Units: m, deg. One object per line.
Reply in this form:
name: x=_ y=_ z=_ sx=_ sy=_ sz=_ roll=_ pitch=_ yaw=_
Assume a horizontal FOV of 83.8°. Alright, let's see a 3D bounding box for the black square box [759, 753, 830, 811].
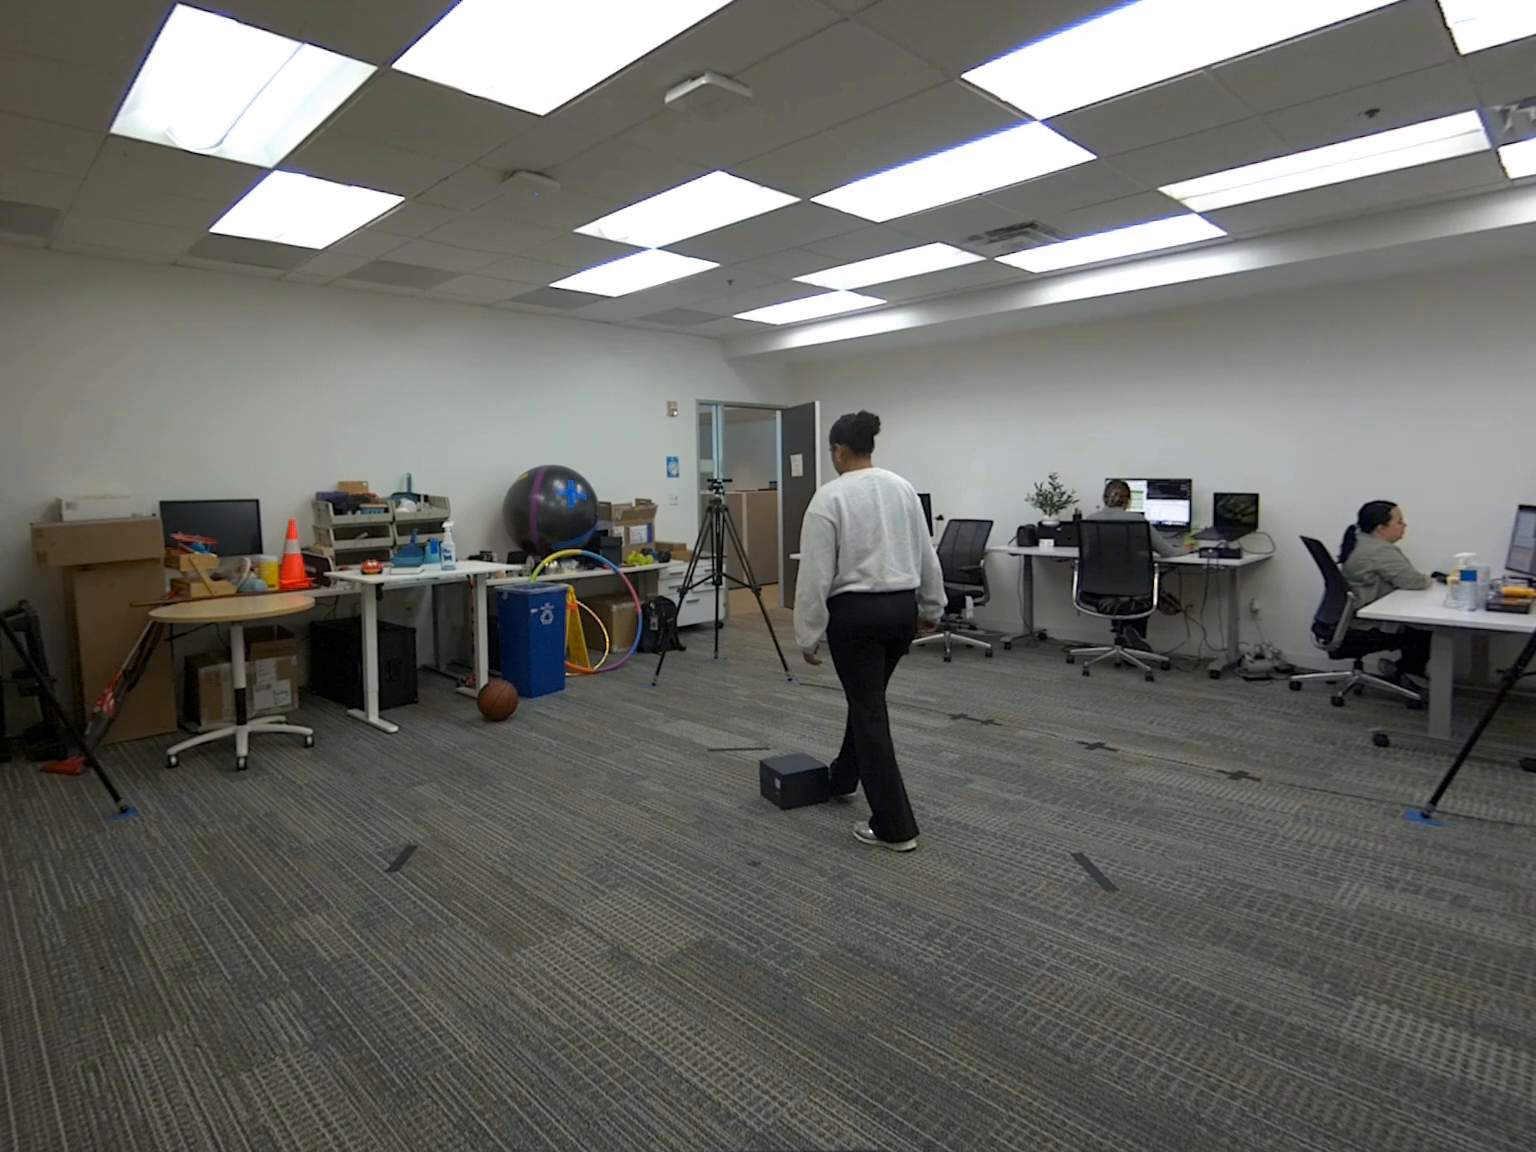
black square box: x=0.128 y=0.890 z=3.733 sx=0.223 sy=0.155 sz=0.223 roll=-4 pitch=6 yaw=-27
